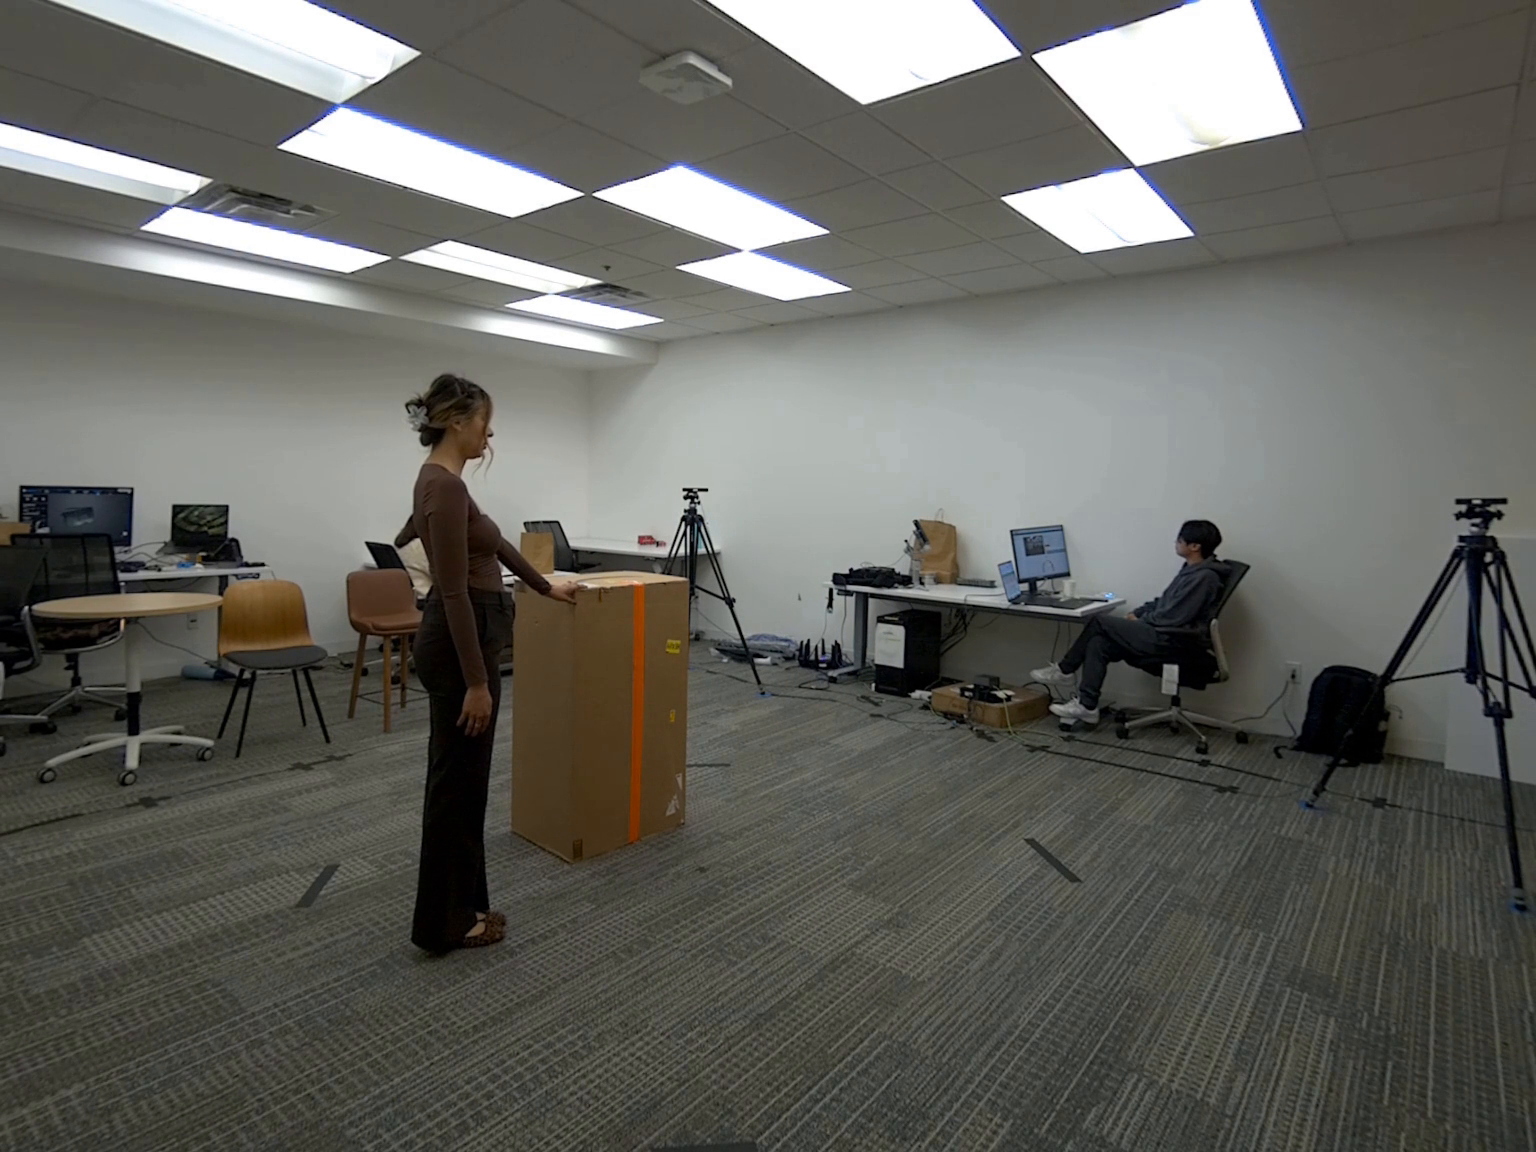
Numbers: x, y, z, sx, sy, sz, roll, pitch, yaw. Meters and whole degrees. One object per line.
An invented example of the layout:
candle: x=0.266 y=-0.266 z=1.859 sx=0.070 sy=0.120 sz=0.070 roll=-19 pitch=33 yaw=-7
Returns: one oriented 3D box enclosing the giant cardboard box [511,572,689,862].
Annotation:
giant cardboard box: x=-0.688 y=0.519 z=3.455 sx=0.462 sy=1.024 sz=0.566 roll=5 pitch=5 yaw=45
